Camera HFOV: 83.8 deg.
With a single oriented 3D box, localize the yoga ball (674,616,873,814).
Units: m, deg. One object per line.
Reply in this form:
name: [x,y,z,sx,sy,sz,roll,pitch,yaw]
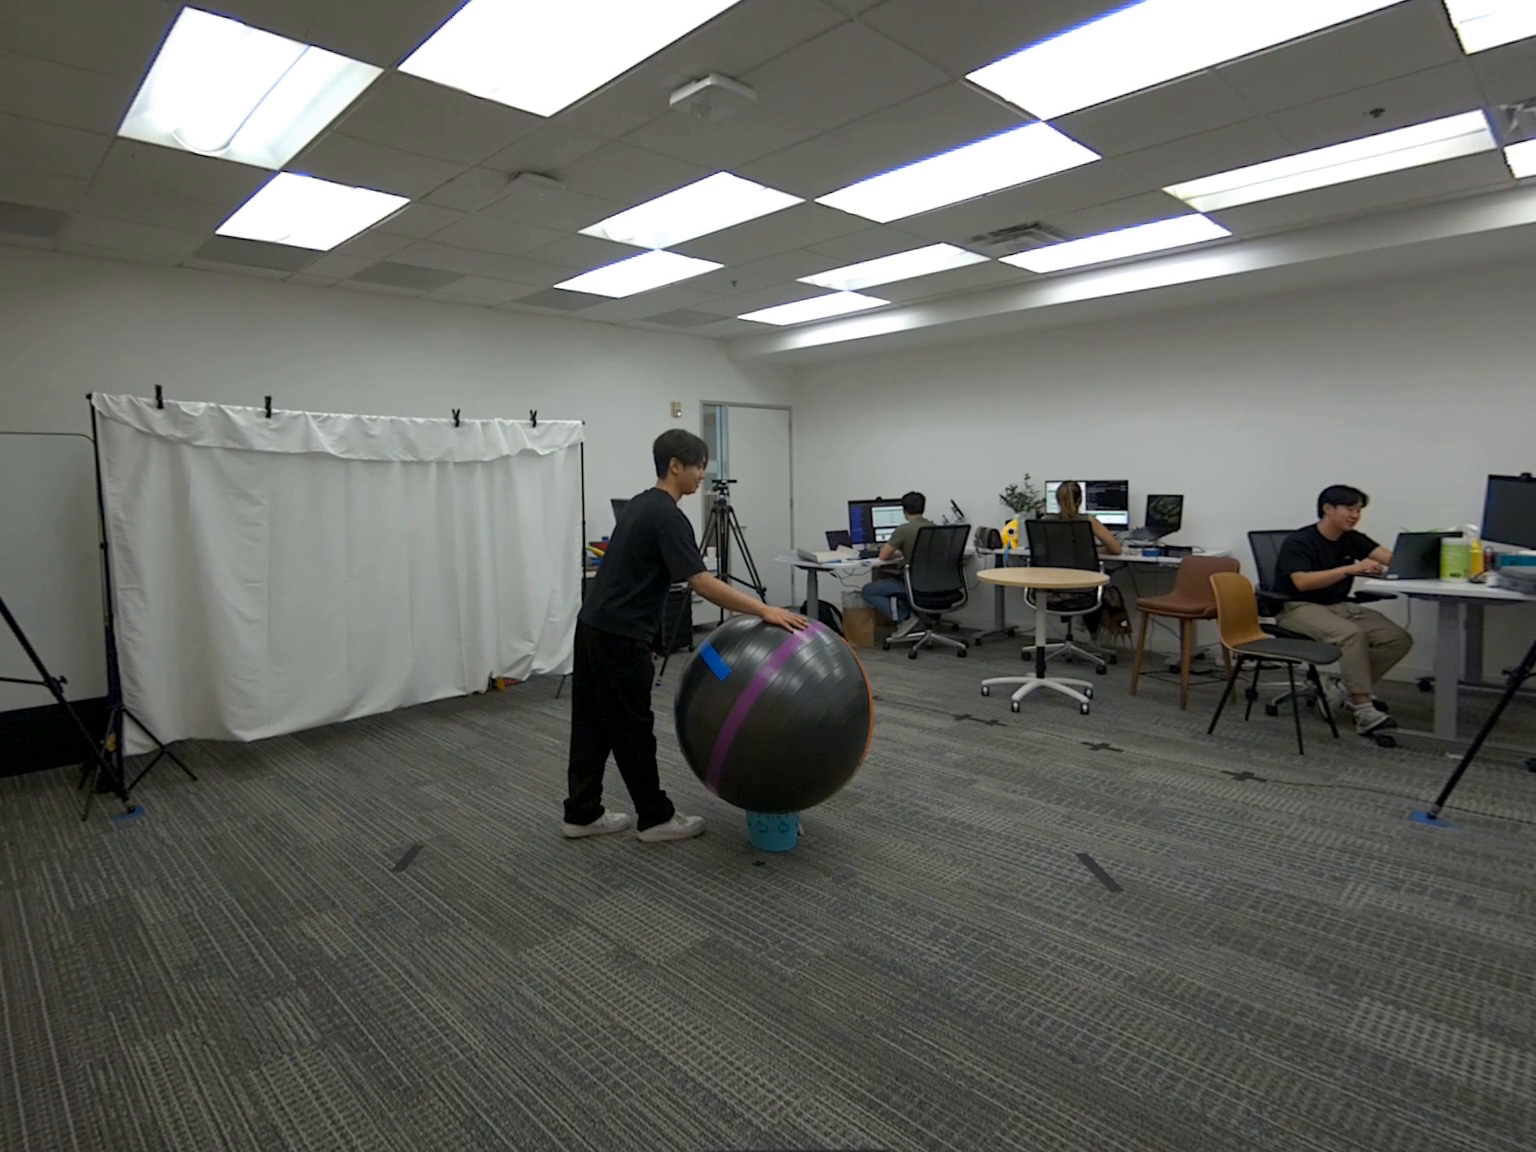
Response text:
yoga ball: [0.029,0.517,3.274,0.757,0.755,0.762,-1,5,-2]
